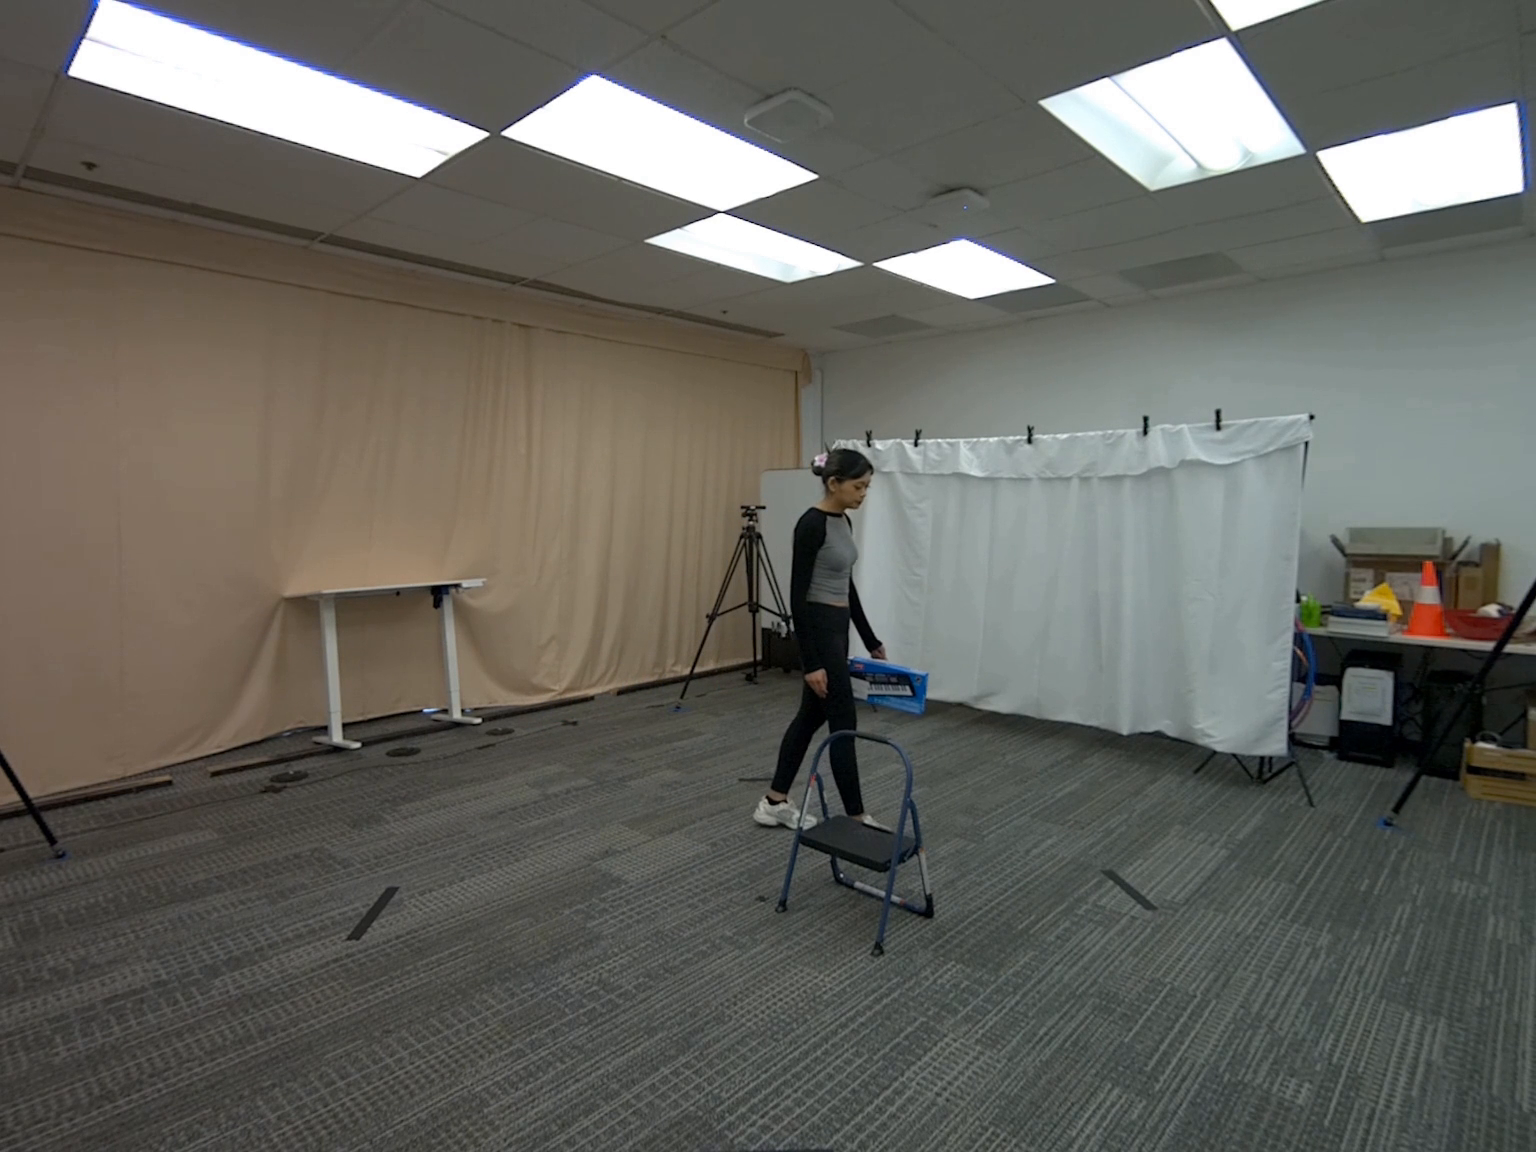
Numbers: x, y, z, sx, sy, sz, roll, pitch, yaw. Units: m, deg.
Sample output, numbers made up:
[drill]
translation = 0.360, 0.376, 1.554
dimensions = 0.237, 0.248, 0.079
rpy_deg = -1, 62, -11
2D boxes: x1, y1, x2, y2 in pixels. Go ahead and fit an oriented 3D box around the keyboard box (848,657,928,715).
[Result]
[keyboard box]
translation = 0.476, 0.468, 3.686
dimensions = 0.450, 0.175, 0.057
rpy_deg = 10, 9, 29
